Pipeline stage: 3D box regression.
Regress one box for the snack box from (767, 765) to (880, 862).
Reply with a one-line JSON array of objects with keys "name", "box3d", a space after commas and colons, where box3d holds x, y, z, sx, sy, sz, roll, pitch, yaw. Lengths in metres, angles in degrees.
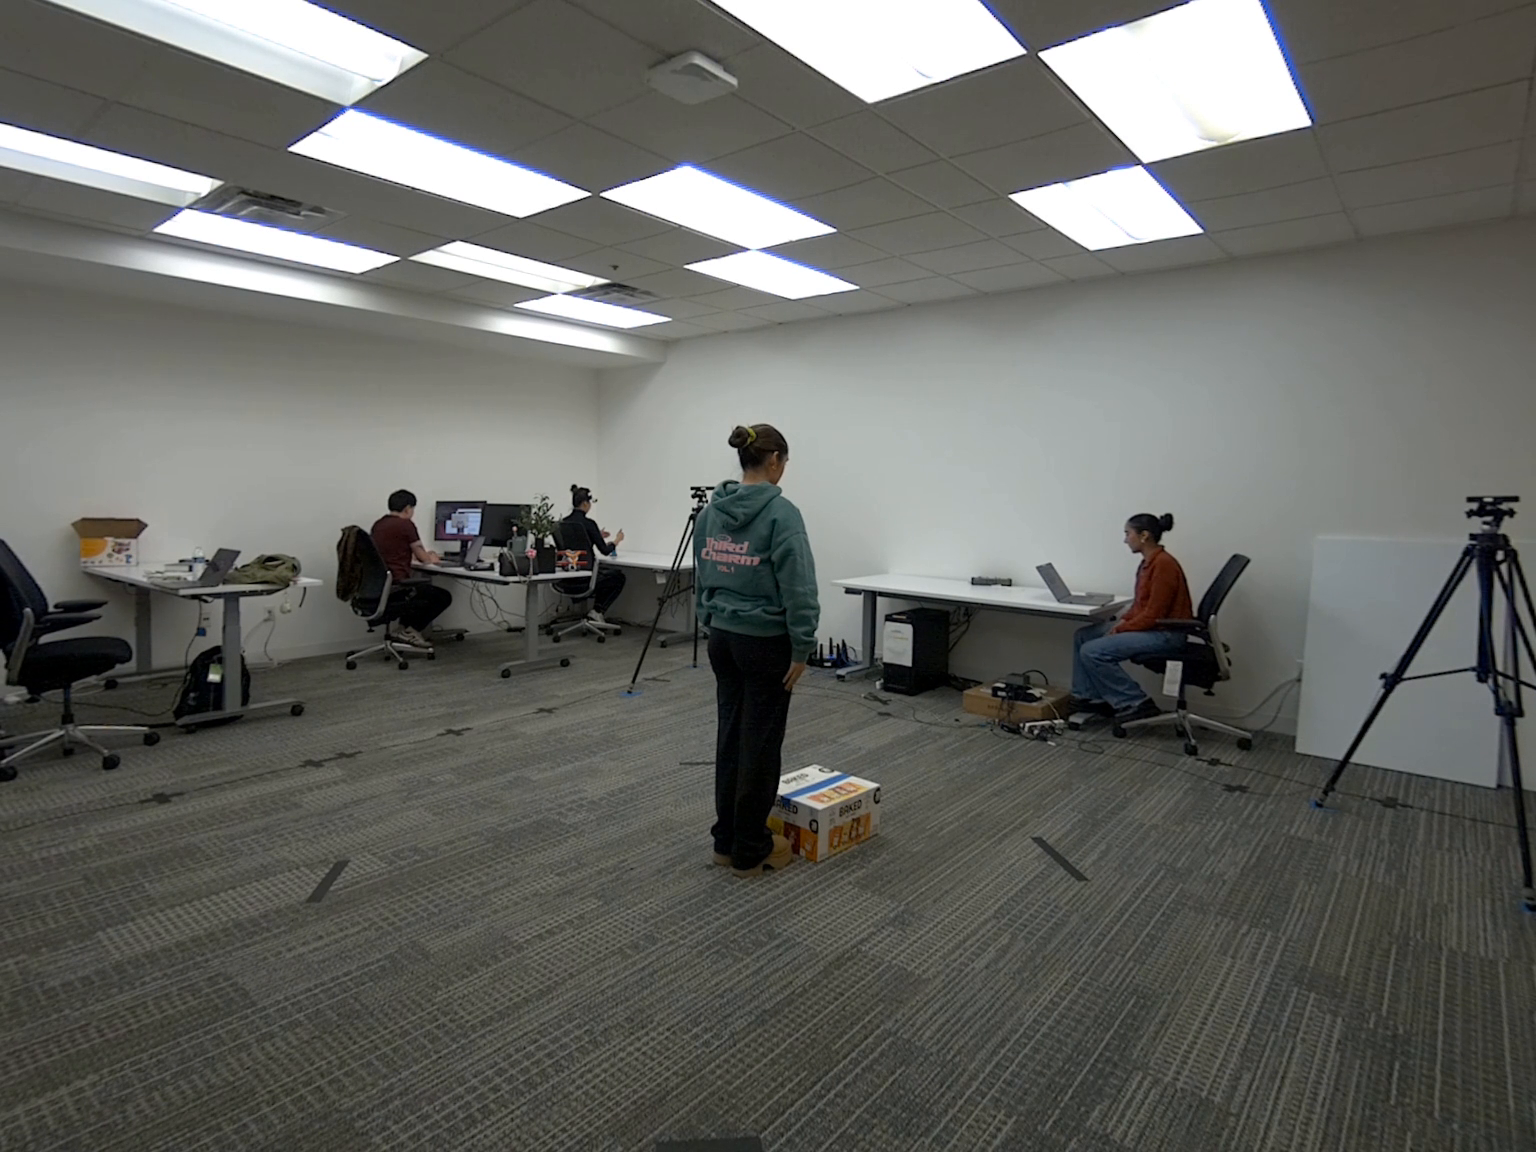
[{"name": "snack box", "box3d": [0.190, 0.941, 3.427, 0.352, 0.205, 0.393, 6, 7, 43]}]
